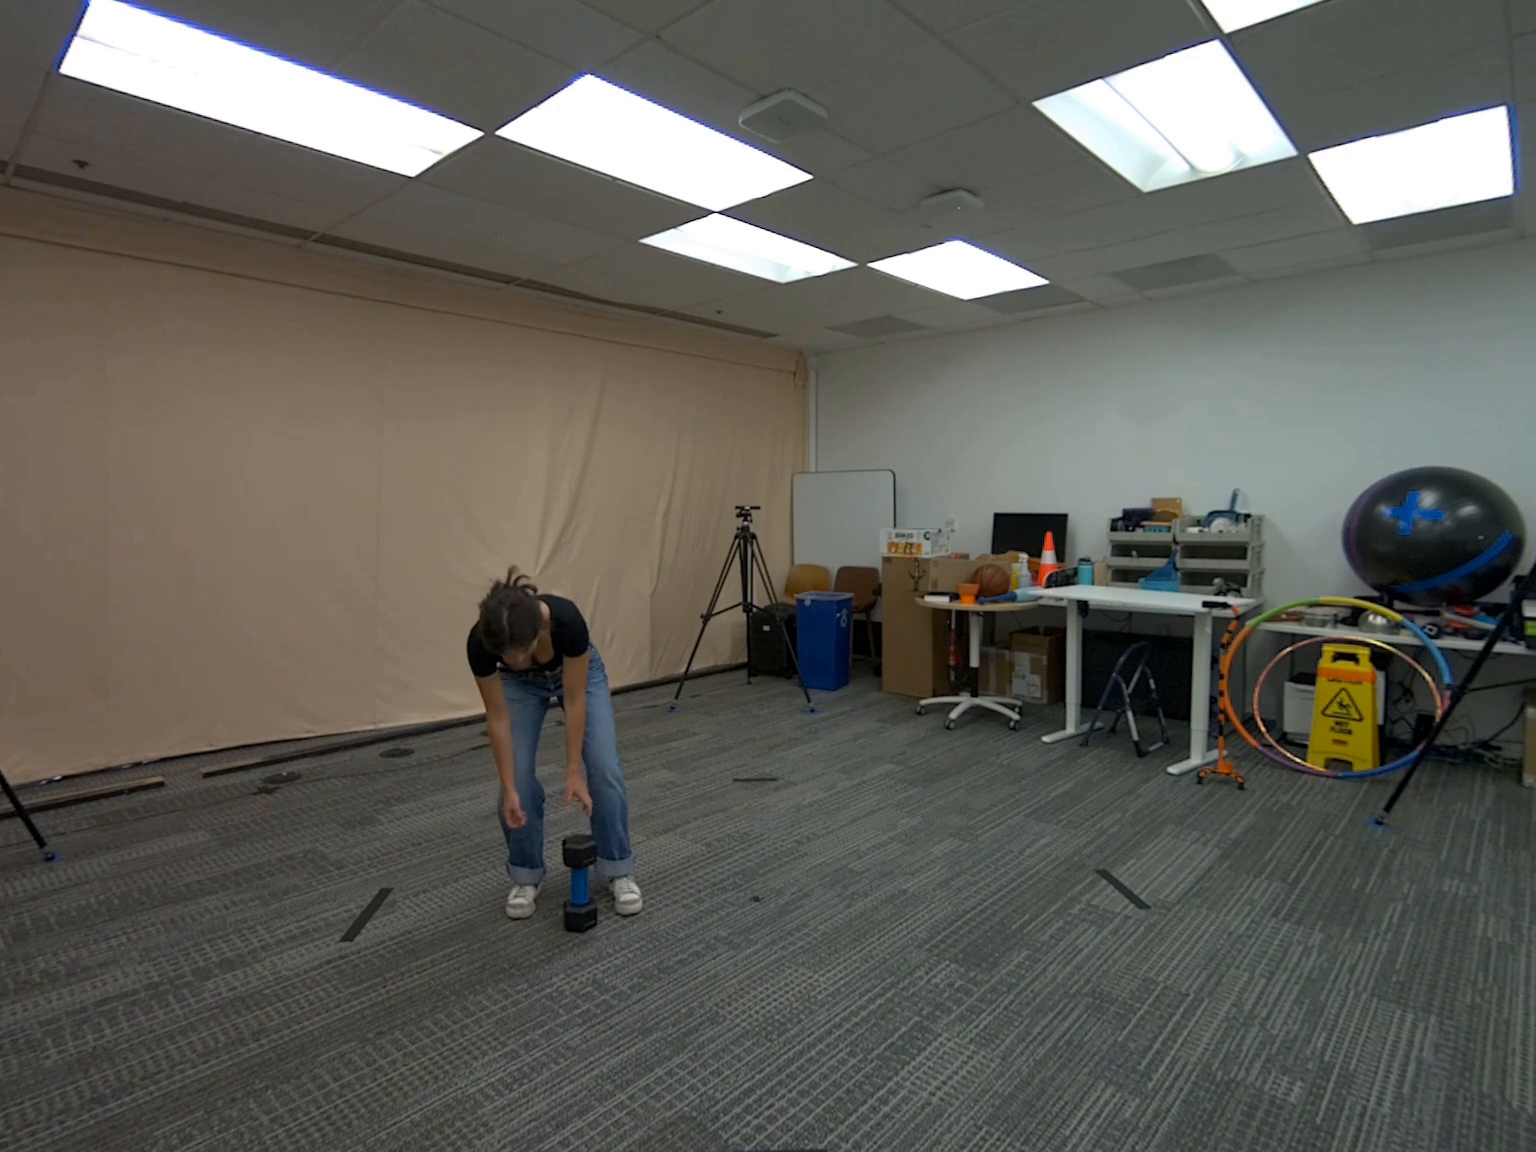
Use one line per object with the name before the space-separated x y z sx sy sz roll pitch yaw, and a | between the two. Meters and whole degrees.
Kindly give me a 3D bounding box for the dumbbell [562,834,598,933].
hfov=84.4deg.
dumbbell | -0.622 1.018 2.798 0.107 0.293 0.125 1 3 -18
